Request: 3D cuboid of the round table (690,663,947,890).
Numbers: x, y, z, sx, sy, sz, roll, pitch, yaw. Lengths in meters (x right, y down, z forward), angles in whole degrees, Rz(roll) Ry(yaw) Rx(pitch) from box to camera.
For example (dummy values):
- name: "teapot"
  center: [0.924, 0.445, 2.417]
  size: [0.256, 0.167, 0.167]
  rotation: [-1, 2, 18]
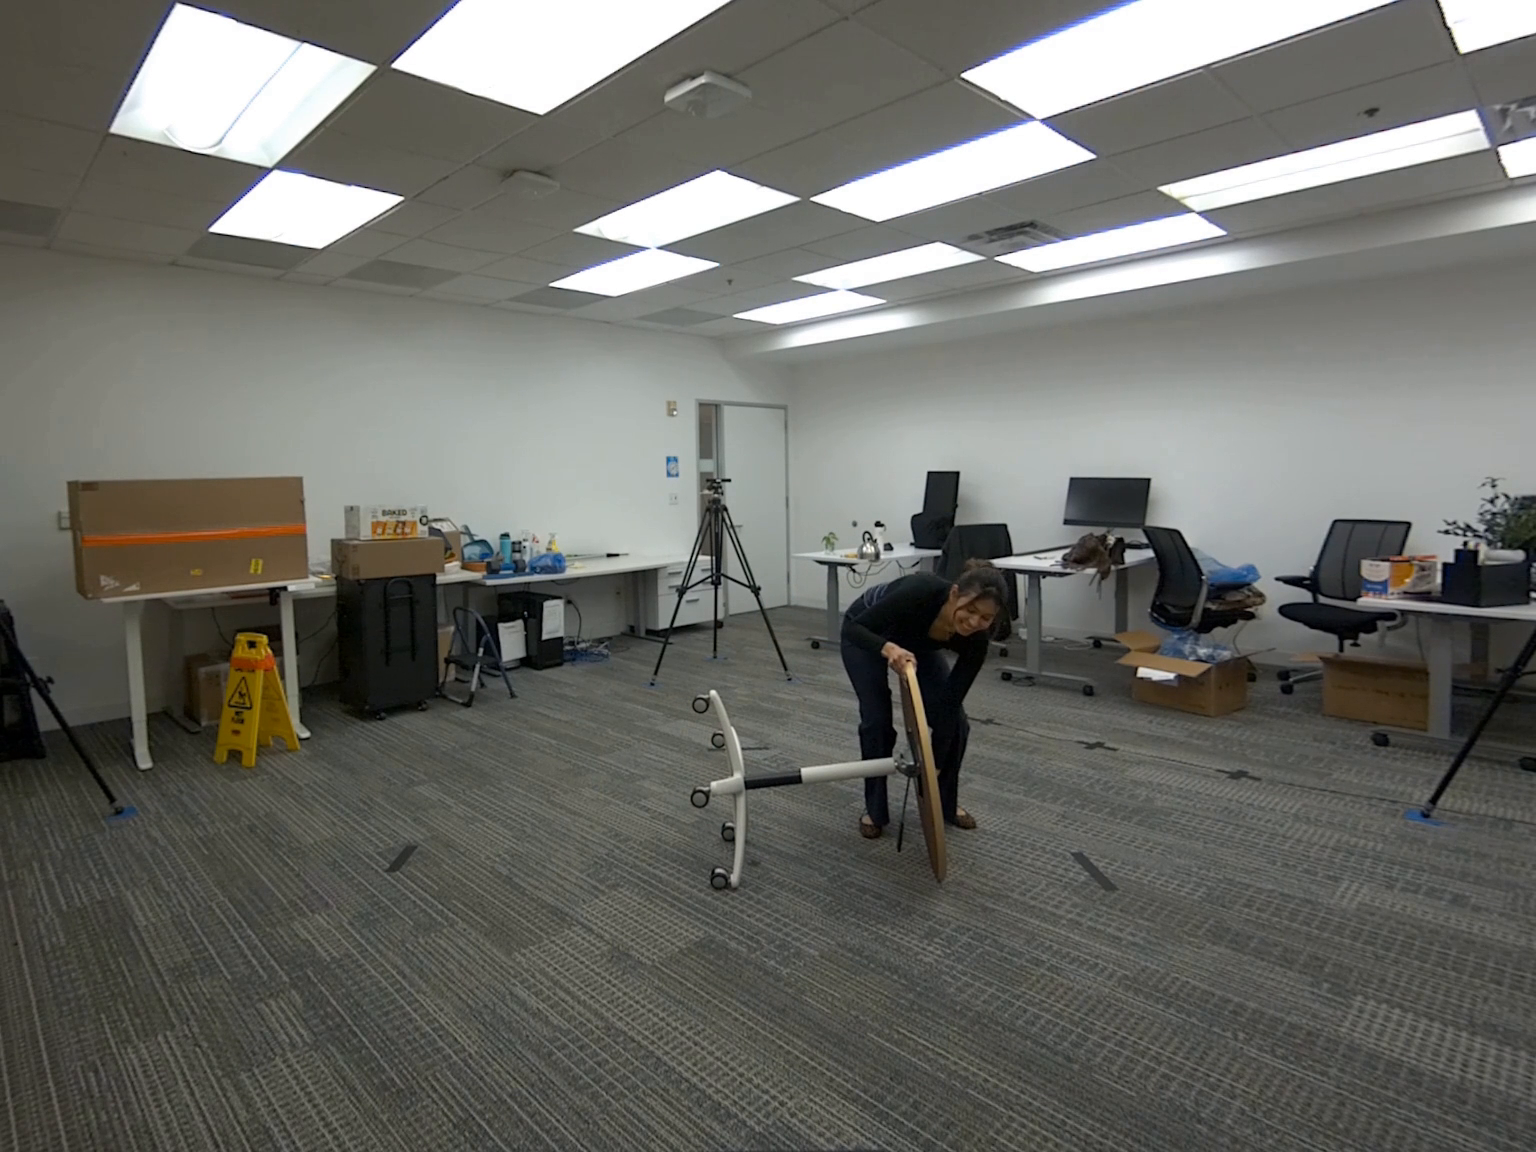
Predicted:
- name: "round table"
  center: [0.165, 0.720, 3.072]
  size: [0.798, 0.761, 0.763]
  rotation: [-8, 4, 5]
